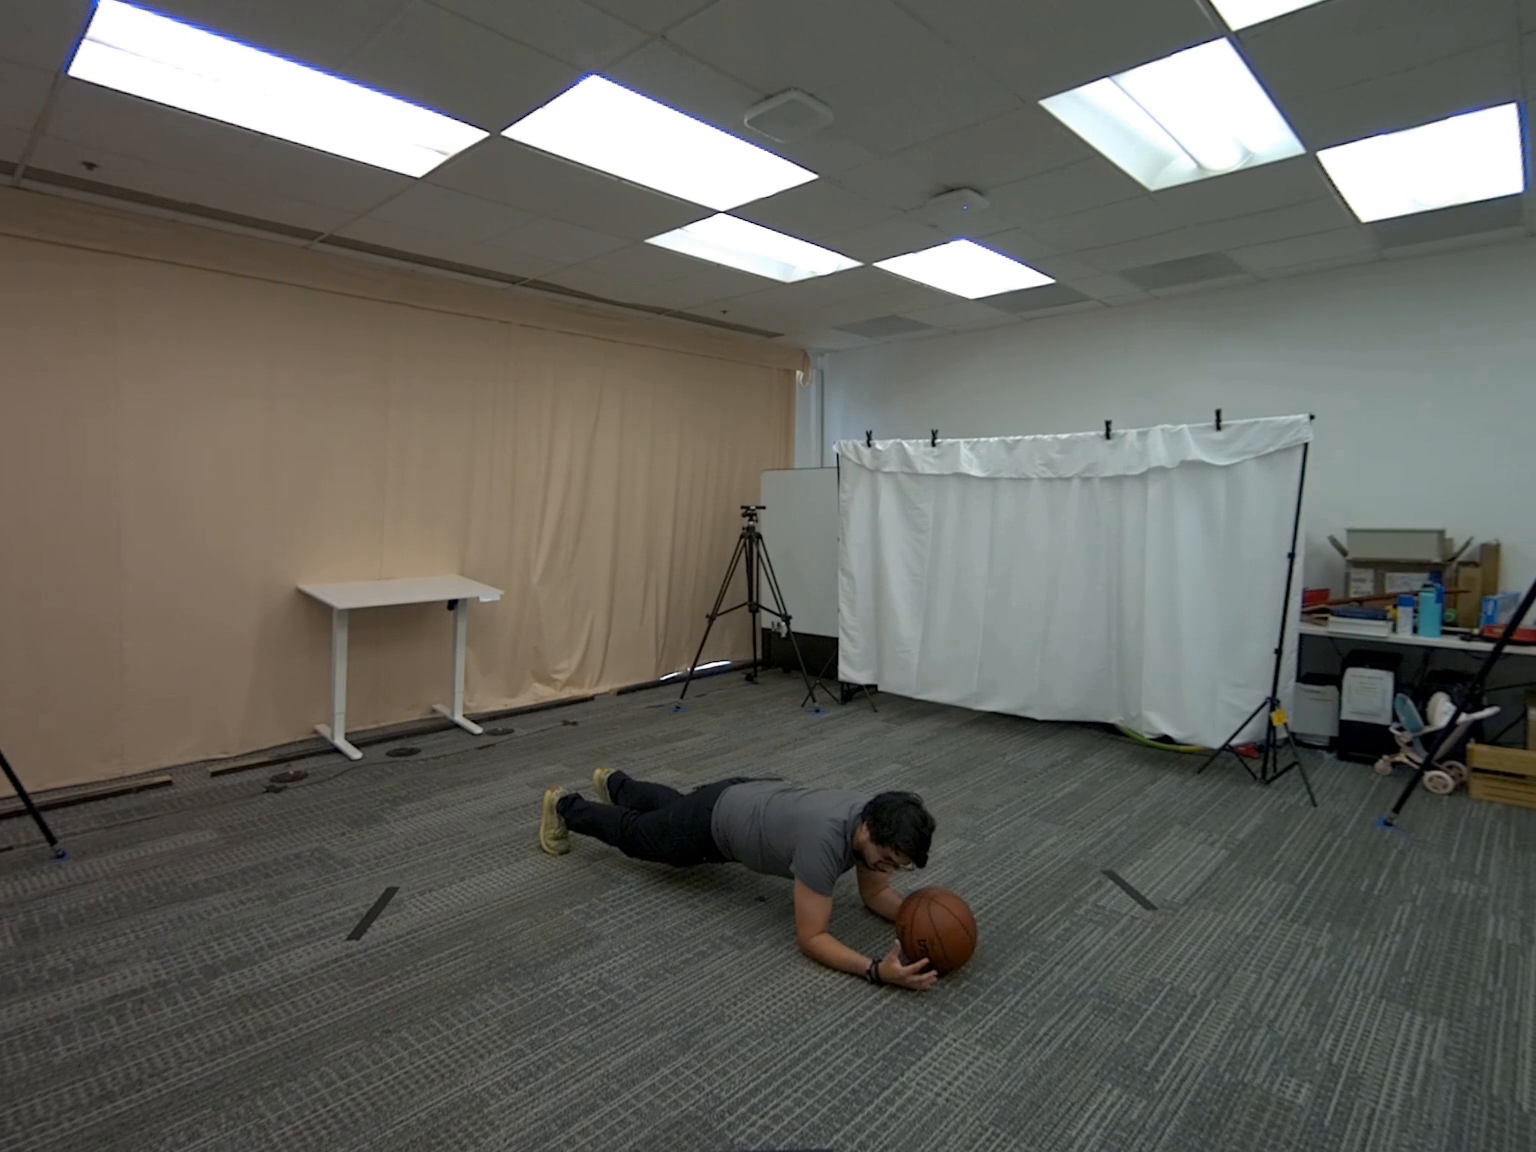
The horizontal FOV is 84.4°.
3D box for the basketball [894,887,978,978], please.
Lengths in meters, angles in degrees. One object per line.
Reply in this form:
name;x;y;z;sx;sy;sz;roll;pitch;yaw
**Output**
basketball;0.506;1.059;2.529;0.236;0.235;0.237;0;4;-2
